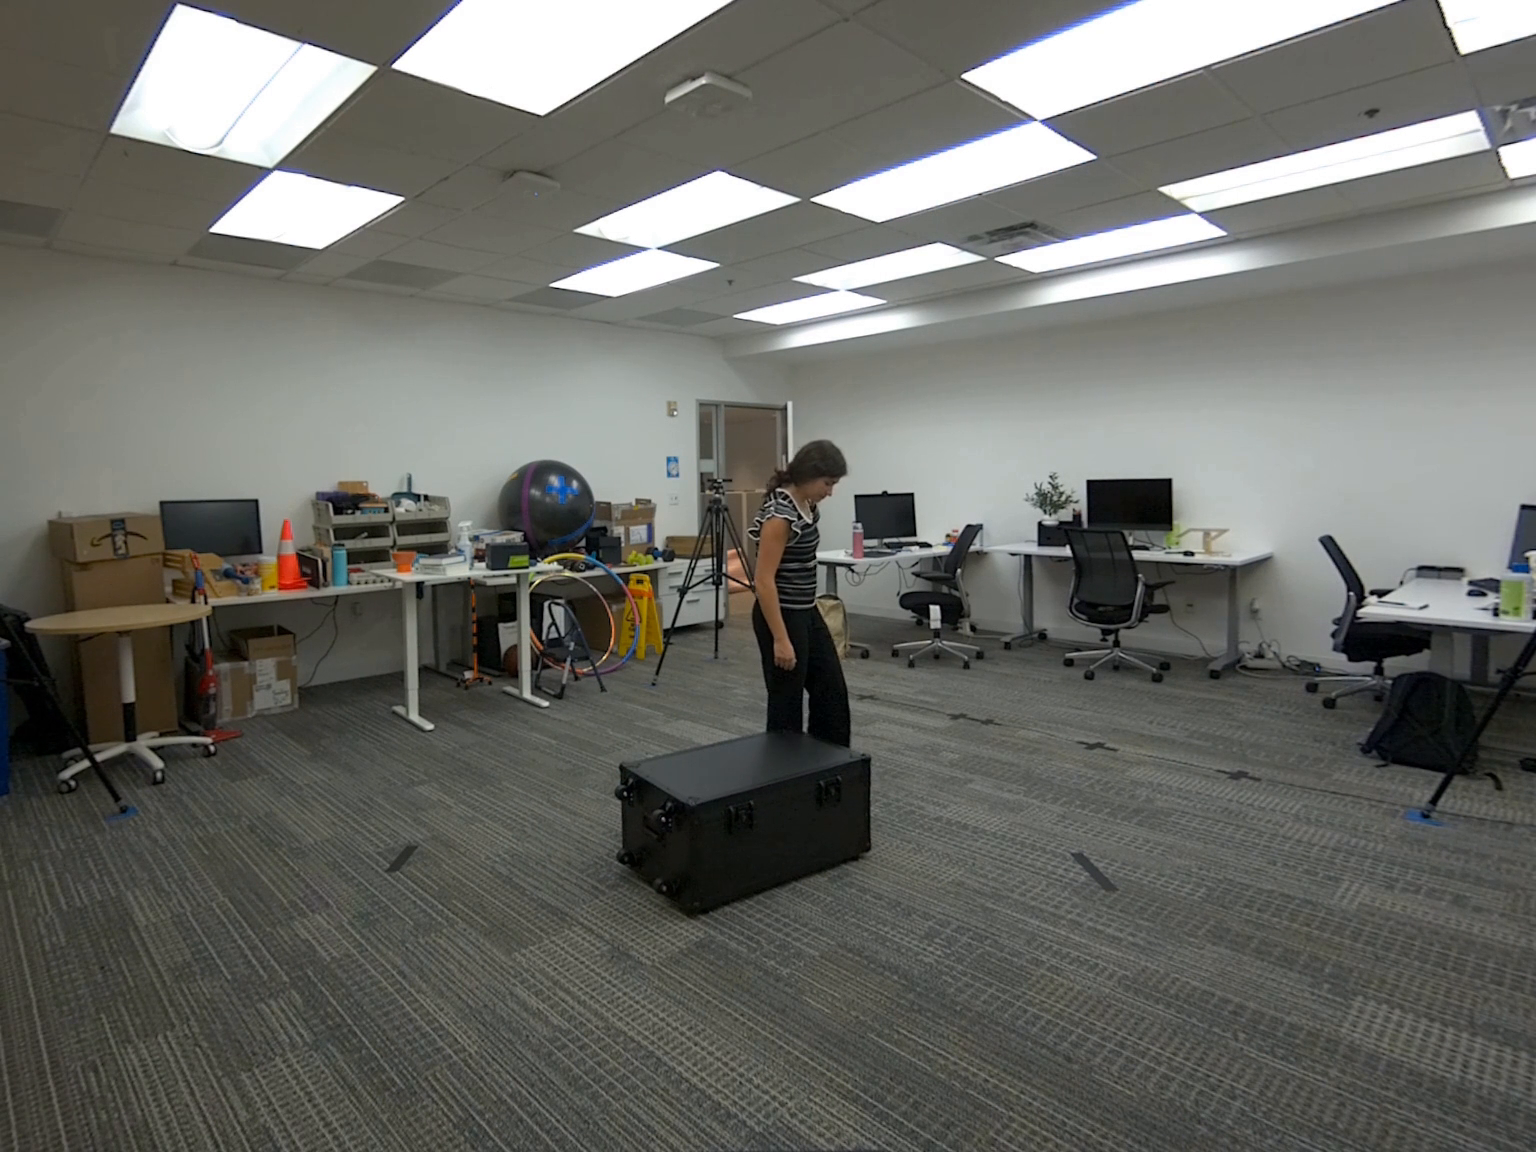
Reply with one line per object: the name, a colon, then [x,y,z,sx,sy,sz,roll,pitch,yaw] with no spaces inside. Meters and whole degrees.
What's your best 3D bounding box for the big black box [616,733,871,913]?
big black box: [-0.110,0.858,3.092,0.839,0.395,0.537,-4,6,-35]
